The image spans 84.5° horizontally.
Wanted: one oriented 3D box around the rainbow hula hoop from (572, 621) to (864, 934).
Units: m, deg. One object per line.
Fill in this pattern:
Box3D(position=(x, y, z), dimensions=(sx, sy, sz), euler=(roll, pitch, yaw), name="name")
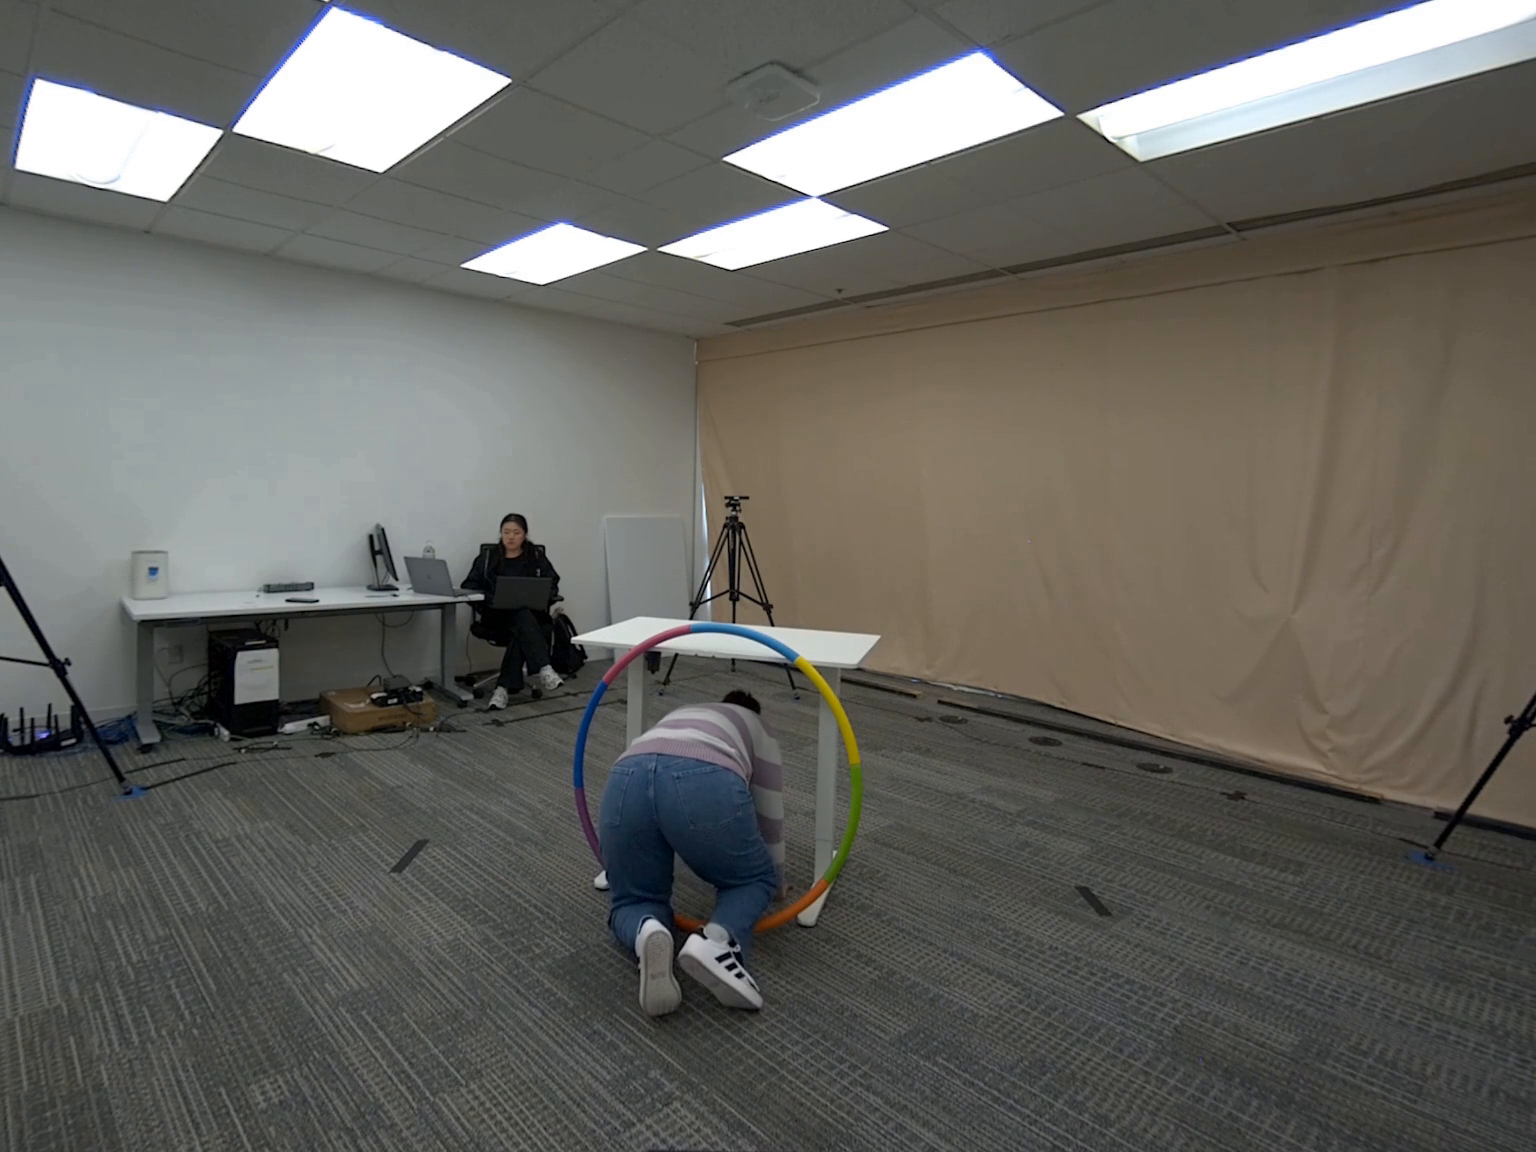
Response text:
Box3D(position=(-0.192, 0.656, 2.718), dimensions=(0.993, 0.981, 0.035), euler=(3, -4, 18), name="rainbow hula hoop")
